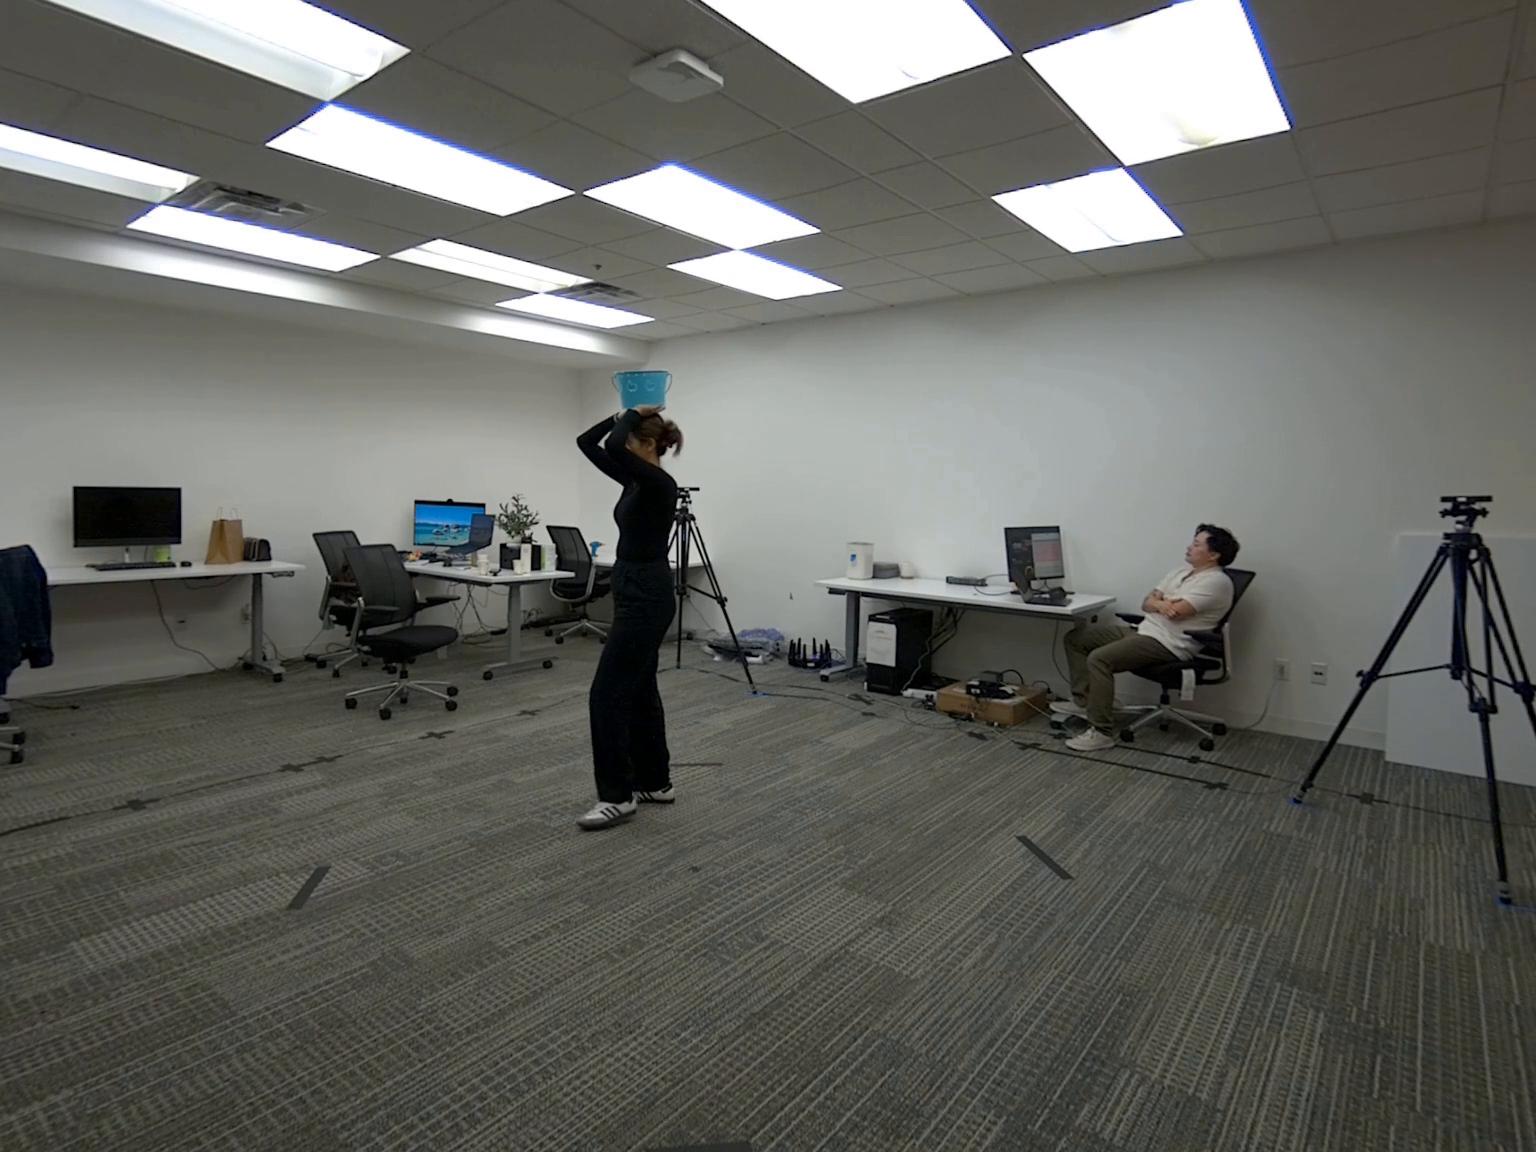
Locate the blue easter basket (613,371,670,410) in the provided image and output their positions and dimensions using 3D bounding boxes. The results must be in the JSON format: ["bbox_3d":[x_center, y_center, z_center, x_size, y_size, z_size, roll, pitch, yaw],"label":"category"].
[{"bbox_3d":[-0.541,-0.787,3.600,0.243,0.155,0.245,-2,8,-2],"label":"blue easter basket"}]
